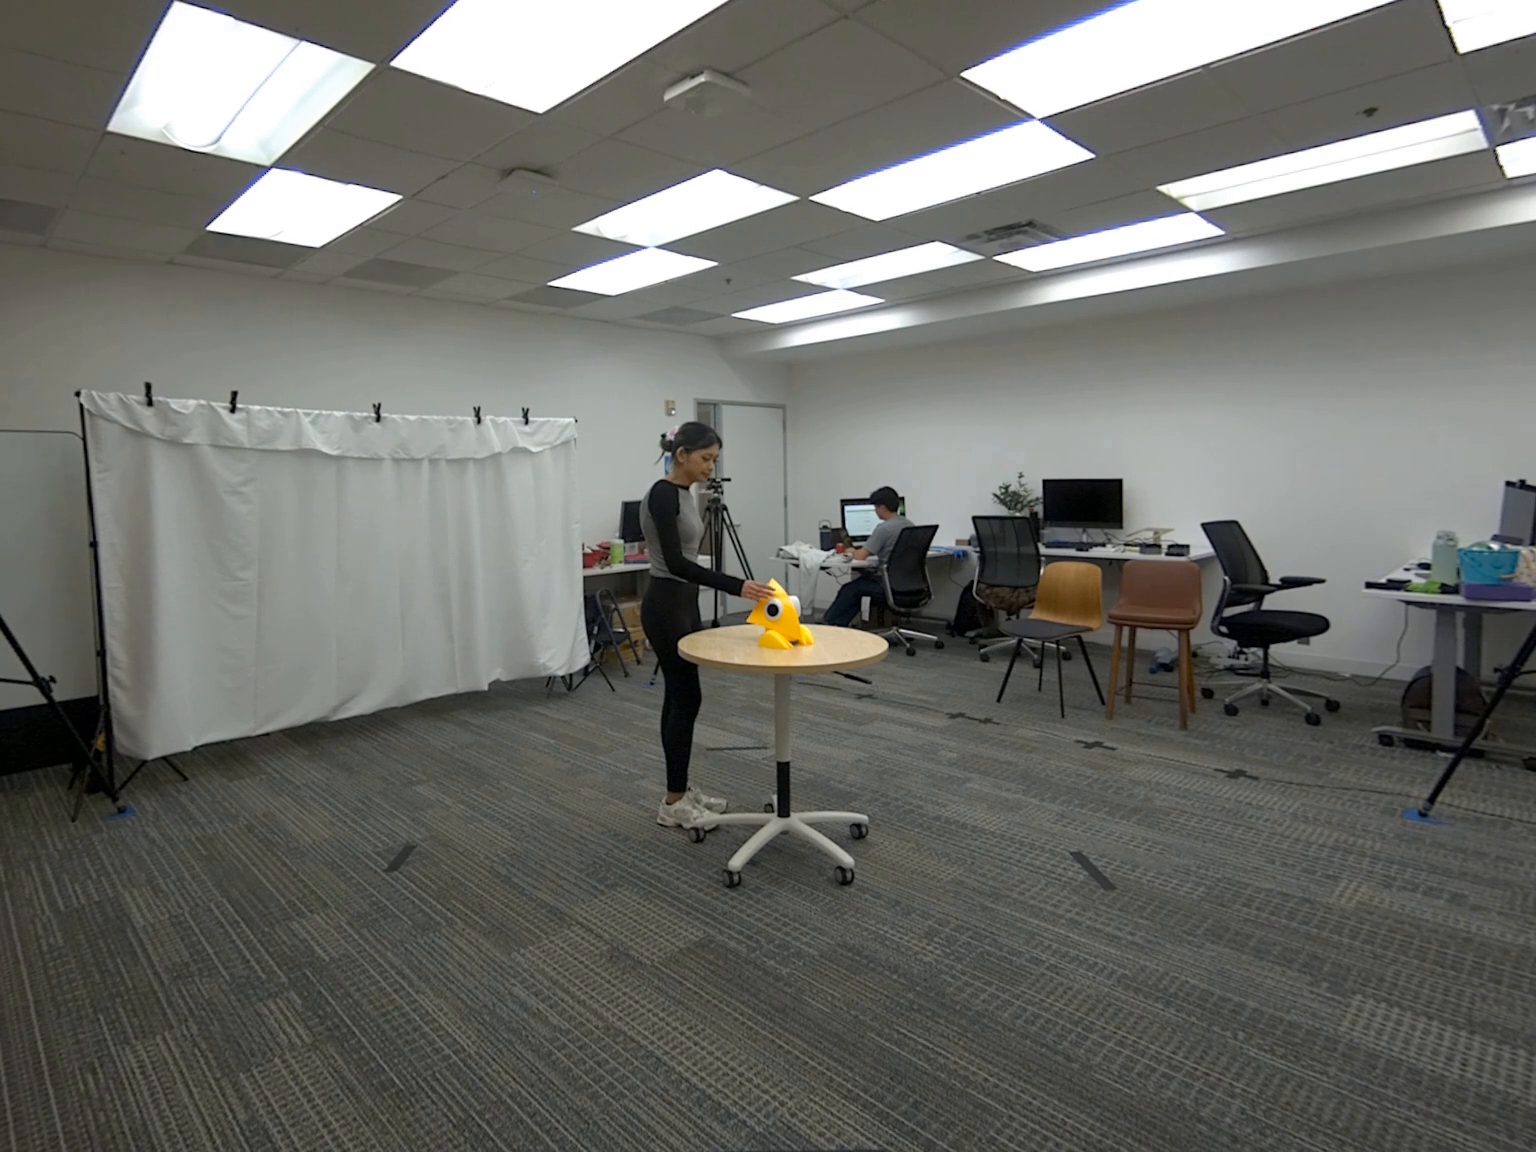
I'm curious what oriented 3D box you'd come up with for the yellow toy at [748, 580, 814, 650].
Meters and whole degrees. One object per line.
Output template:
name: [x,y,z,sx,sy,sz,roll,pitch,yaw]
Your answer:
yellow toy: [0.067,0.133,3.117,0.199,0.230,0.199,-4,7,-40]
